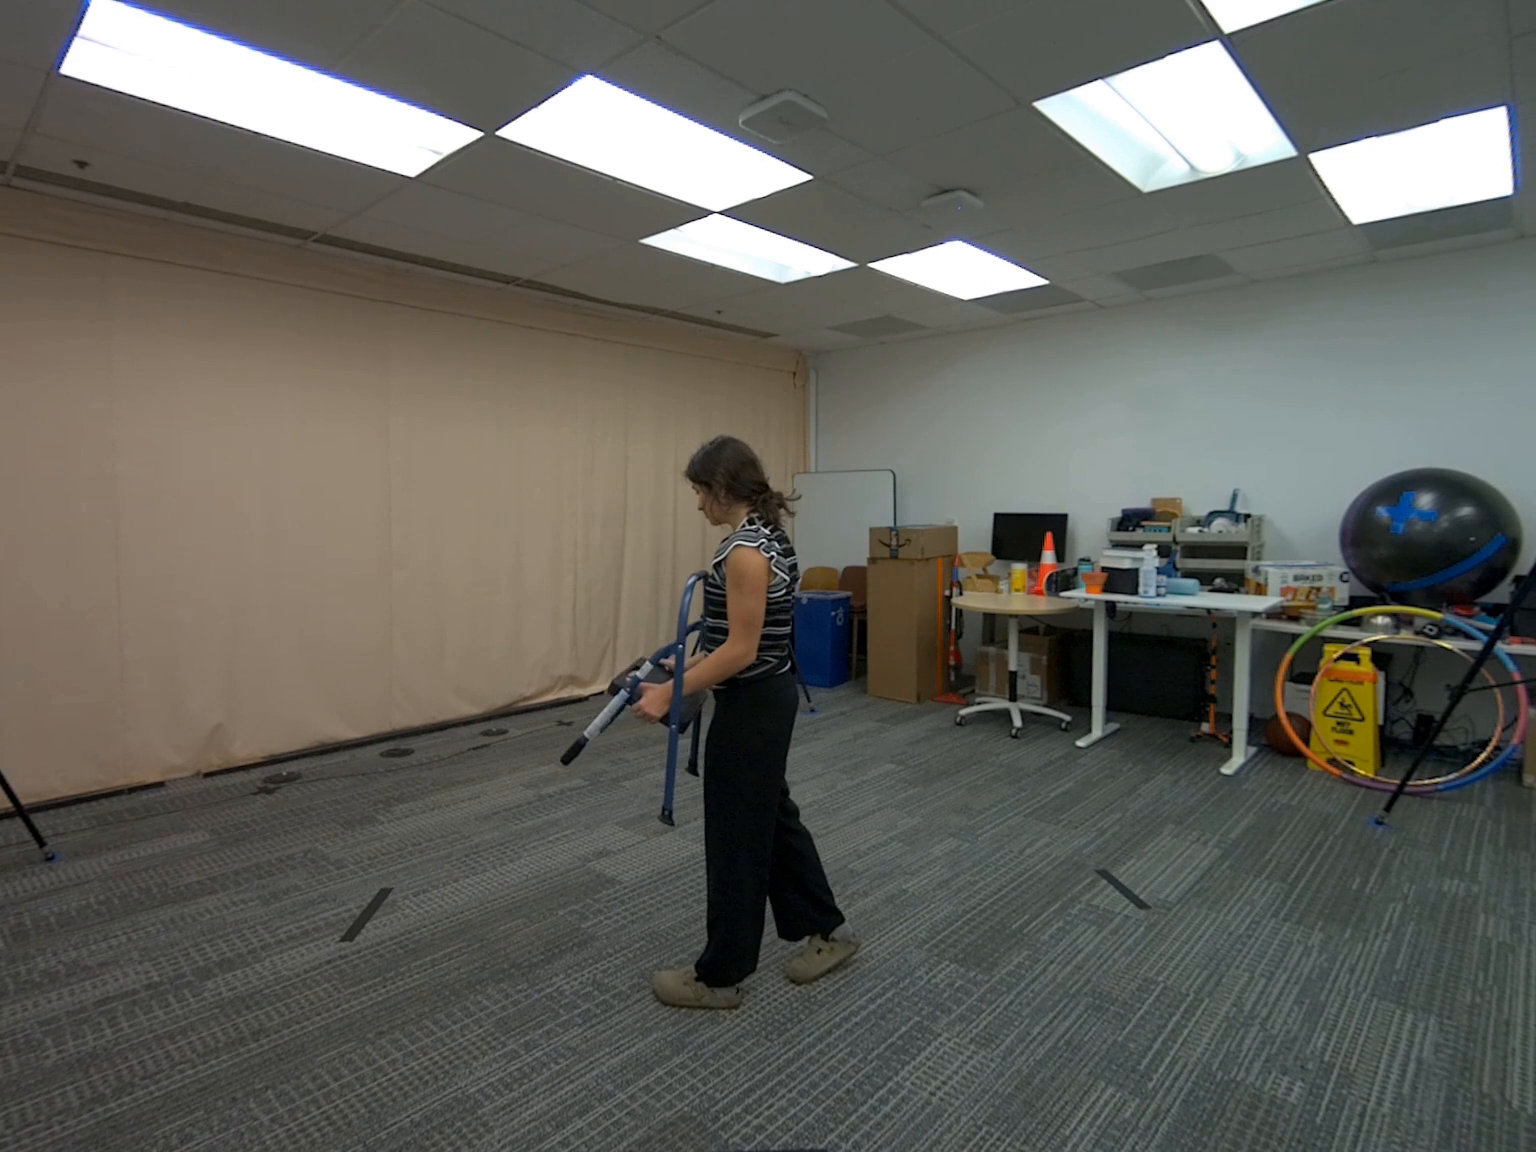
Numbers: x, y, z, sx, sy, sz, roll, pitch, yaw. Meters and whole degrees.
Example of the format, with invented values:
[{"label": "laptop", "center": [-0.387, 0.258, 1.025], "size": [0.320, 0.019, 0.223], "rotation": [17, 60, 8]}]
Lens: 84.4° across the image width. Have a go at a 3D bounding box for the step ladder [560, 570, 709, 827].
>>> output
[{"label": "step ladder", "center": [-0.252, 0.297, 2.405], "size": [0.351, 0.605, 0.428], "rotation": [27, 6, 3]}]
